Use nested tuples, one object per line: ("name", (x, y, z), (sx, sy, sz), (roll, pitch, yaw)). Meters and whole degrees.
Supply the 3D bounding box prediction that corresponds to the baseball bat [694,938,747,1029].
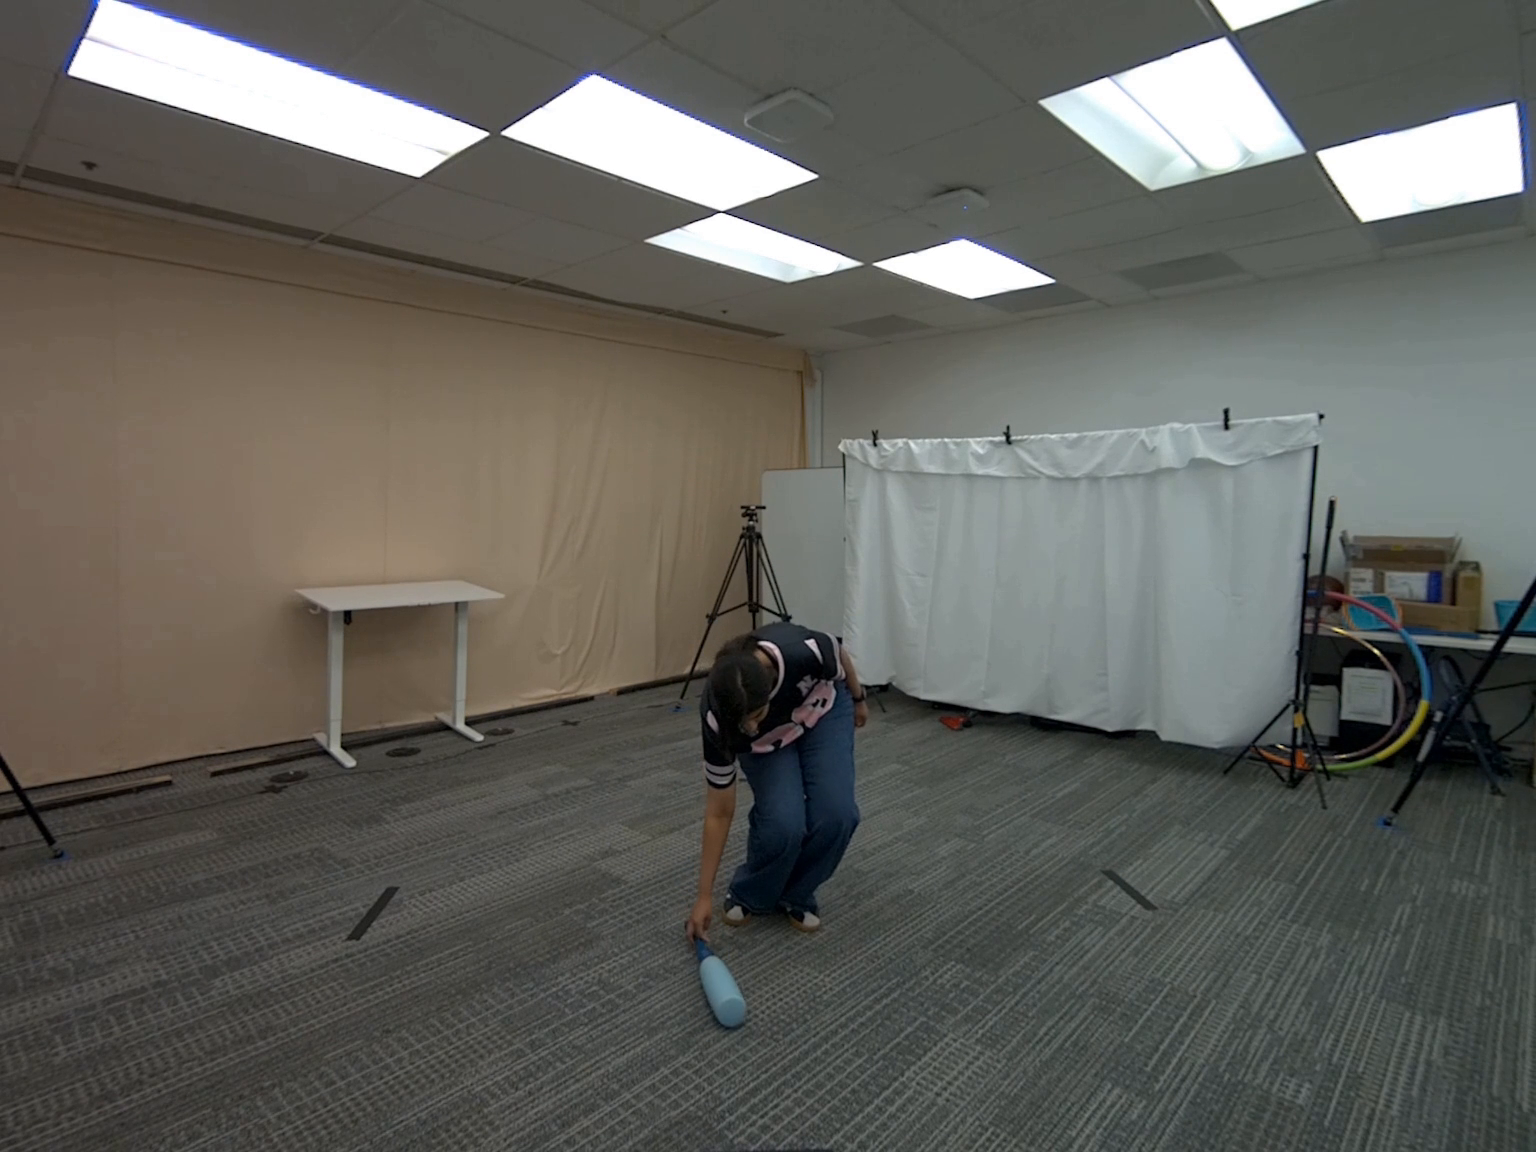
("baseball bat", (-0.169, 1.145, 2.484), (0.088, 0.089, 0.552), (-1, 3, -15))
